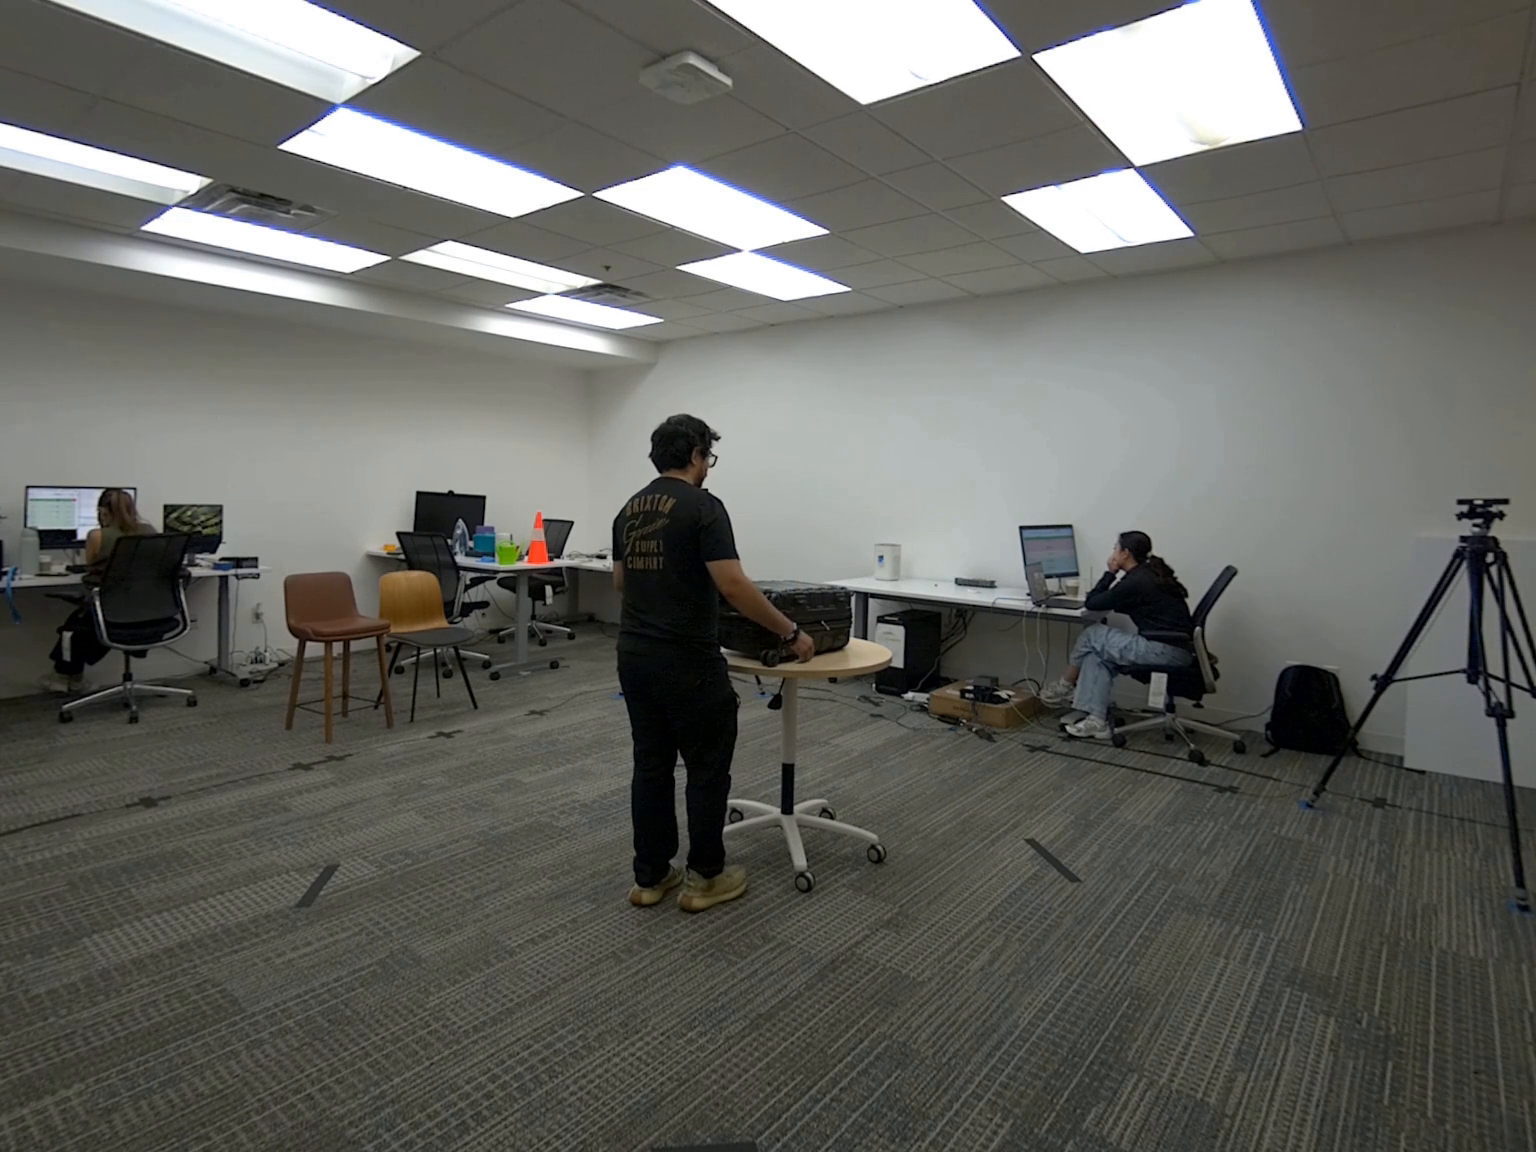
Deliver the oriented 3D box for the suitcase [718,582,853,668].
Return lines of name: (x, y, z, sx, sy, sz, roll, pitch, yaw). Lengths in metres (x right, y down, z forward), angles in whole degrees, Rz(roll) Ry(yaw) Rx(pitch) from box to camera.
suitcase: (0.049, 0.155, 3.231, 0.388, 0.248, 0.533, 5, 5, 38)
